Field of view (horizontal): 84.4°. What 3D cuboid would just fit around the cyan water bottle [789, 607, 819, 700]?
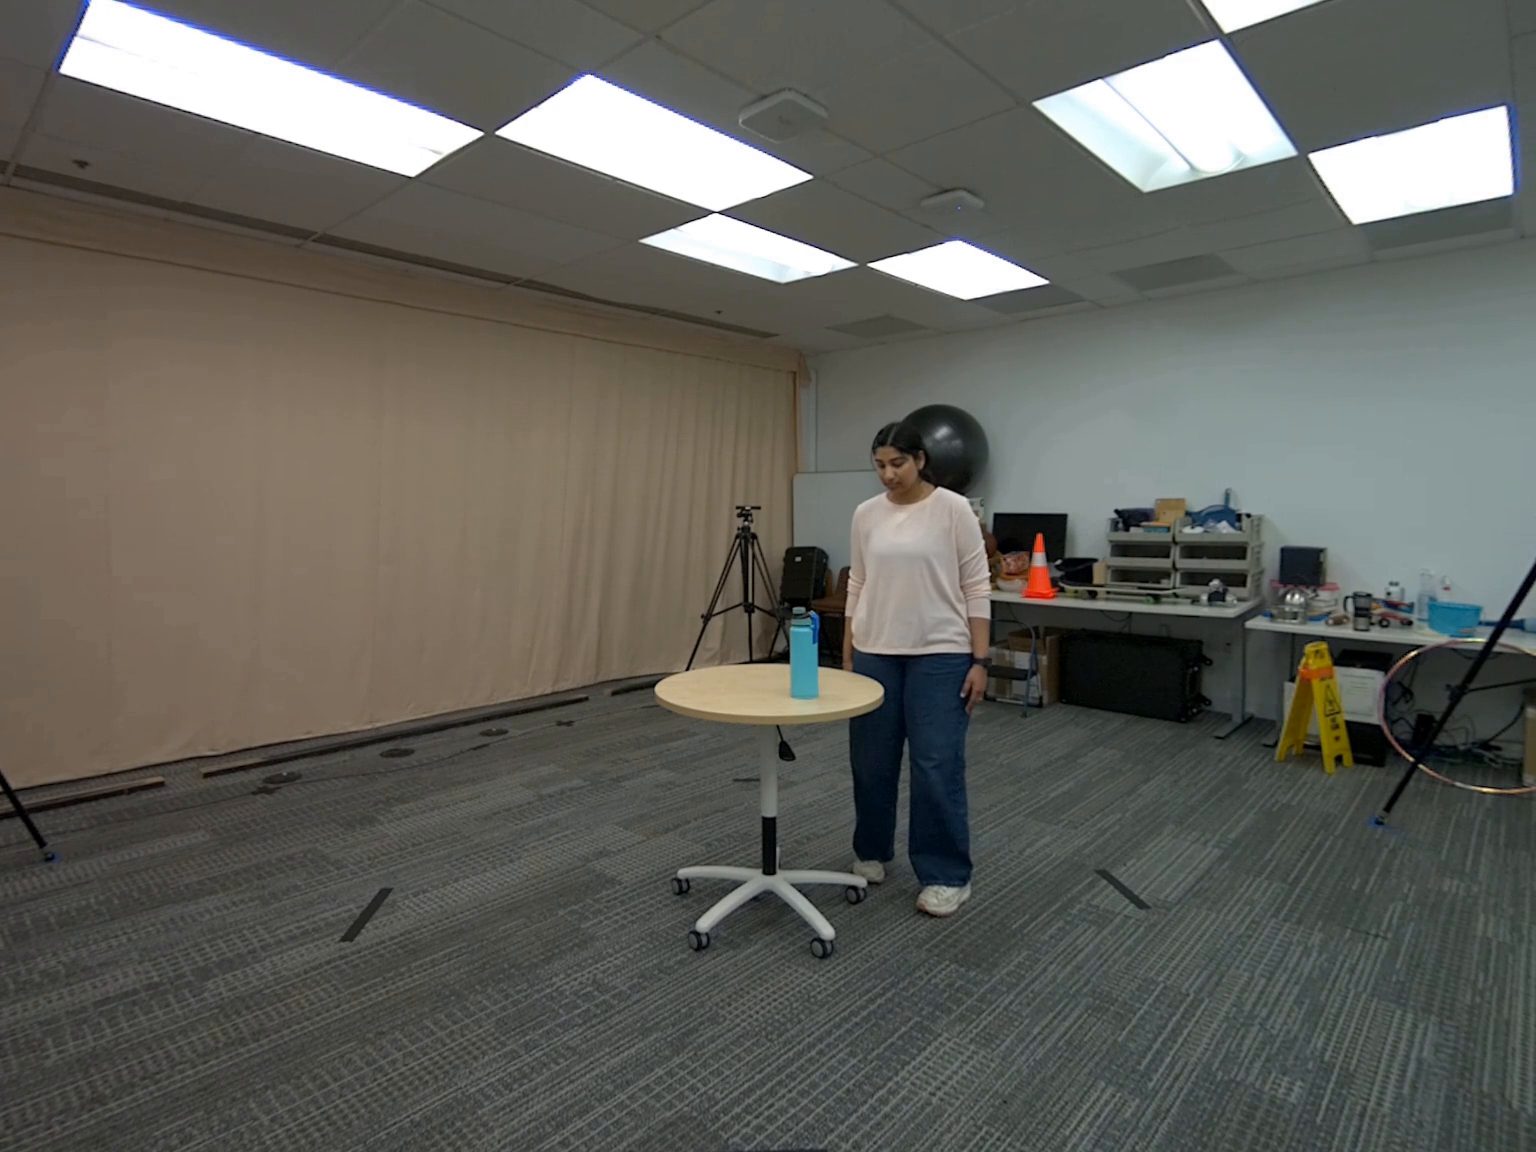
[{"bbox_3d":[0.121,0.248,2.683,0.092,0.283,0.092,0,2,-2],"label":"cyan water bottle"}]
